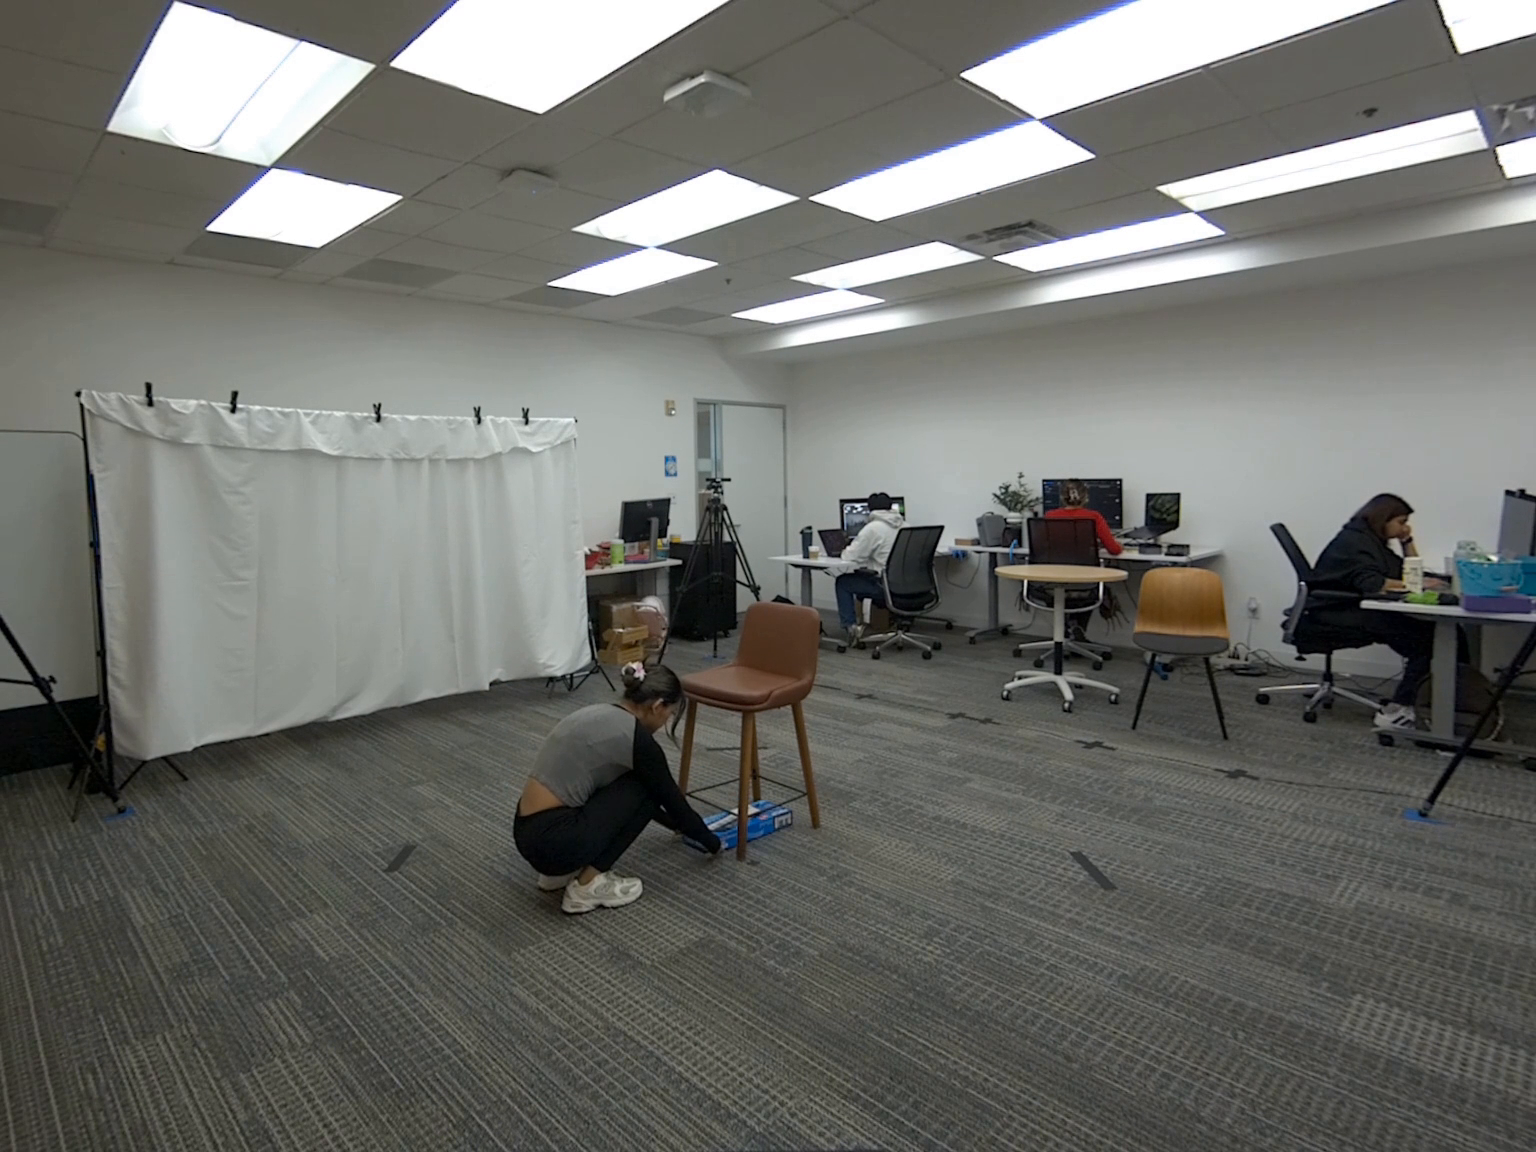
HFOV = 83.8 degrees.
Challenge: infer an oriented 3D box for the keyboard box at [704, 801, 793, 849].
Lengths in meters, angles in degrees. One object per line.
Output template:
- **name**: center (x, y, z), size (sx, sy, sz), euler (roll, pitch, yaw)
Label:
- **keyboard box**: center (-0.115, 0.982, 3.367), size (0.425, 0.059, 0.181), euler (-5, 7, -42)
